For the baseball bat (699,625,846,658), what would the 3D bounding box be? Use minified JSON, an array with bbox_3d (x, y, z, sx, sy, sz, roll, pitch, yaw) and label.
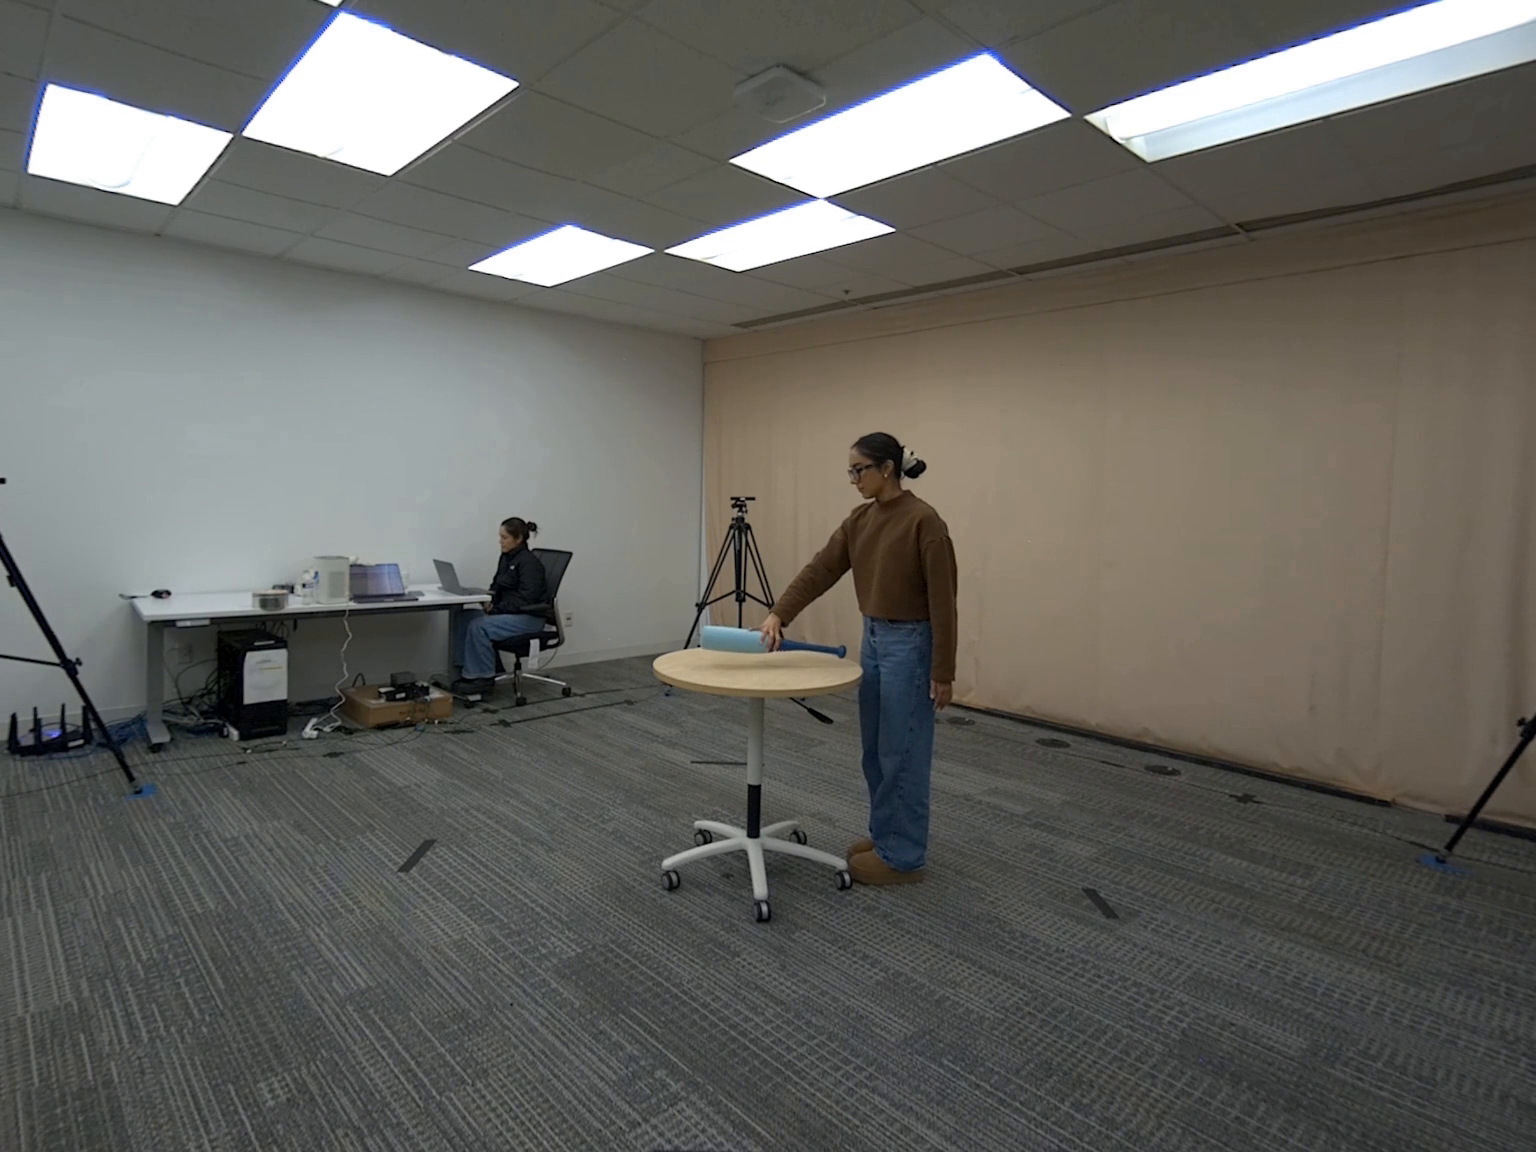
[{"bbox_3d":[0.022,0.254,3.069,0.540,0.089,0.090,8,3,-6],"label":"baseball bat"}]
